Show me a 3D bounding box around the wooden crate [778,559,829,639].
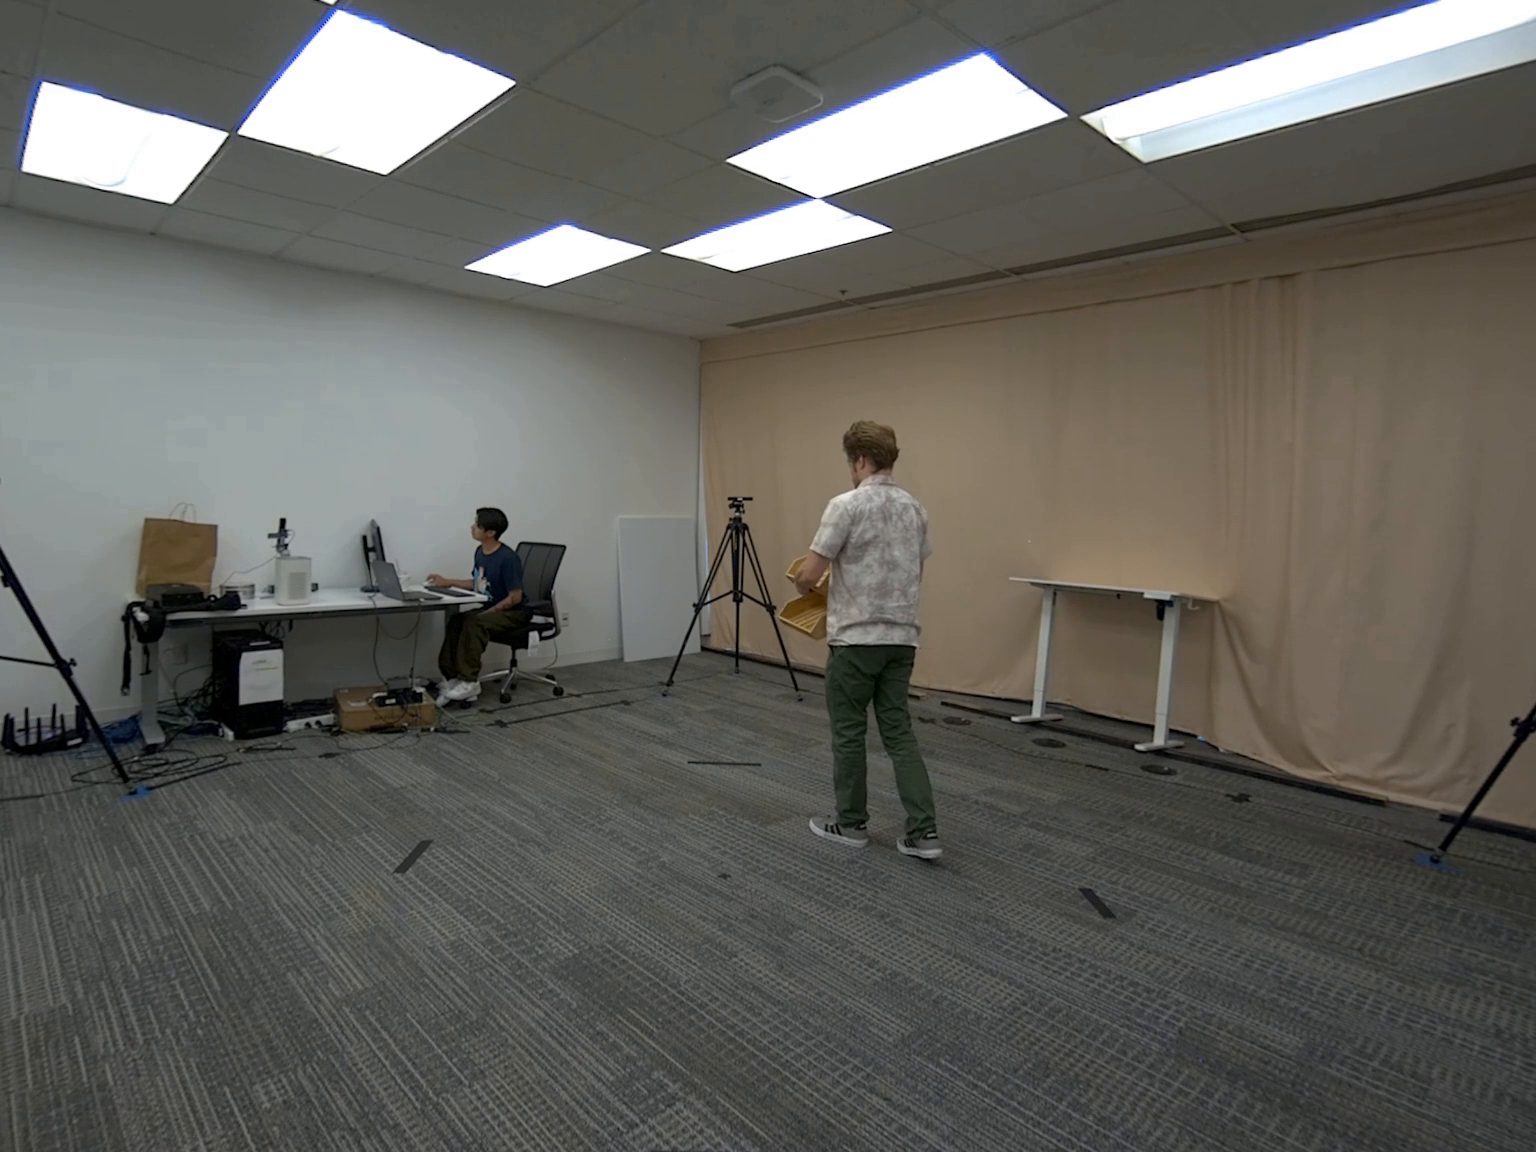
[{"bbox_3d":[0.202,0.071,3.652,0.299,0.269,0.332,-22,18,-21],"label":"wooden crate"}]
